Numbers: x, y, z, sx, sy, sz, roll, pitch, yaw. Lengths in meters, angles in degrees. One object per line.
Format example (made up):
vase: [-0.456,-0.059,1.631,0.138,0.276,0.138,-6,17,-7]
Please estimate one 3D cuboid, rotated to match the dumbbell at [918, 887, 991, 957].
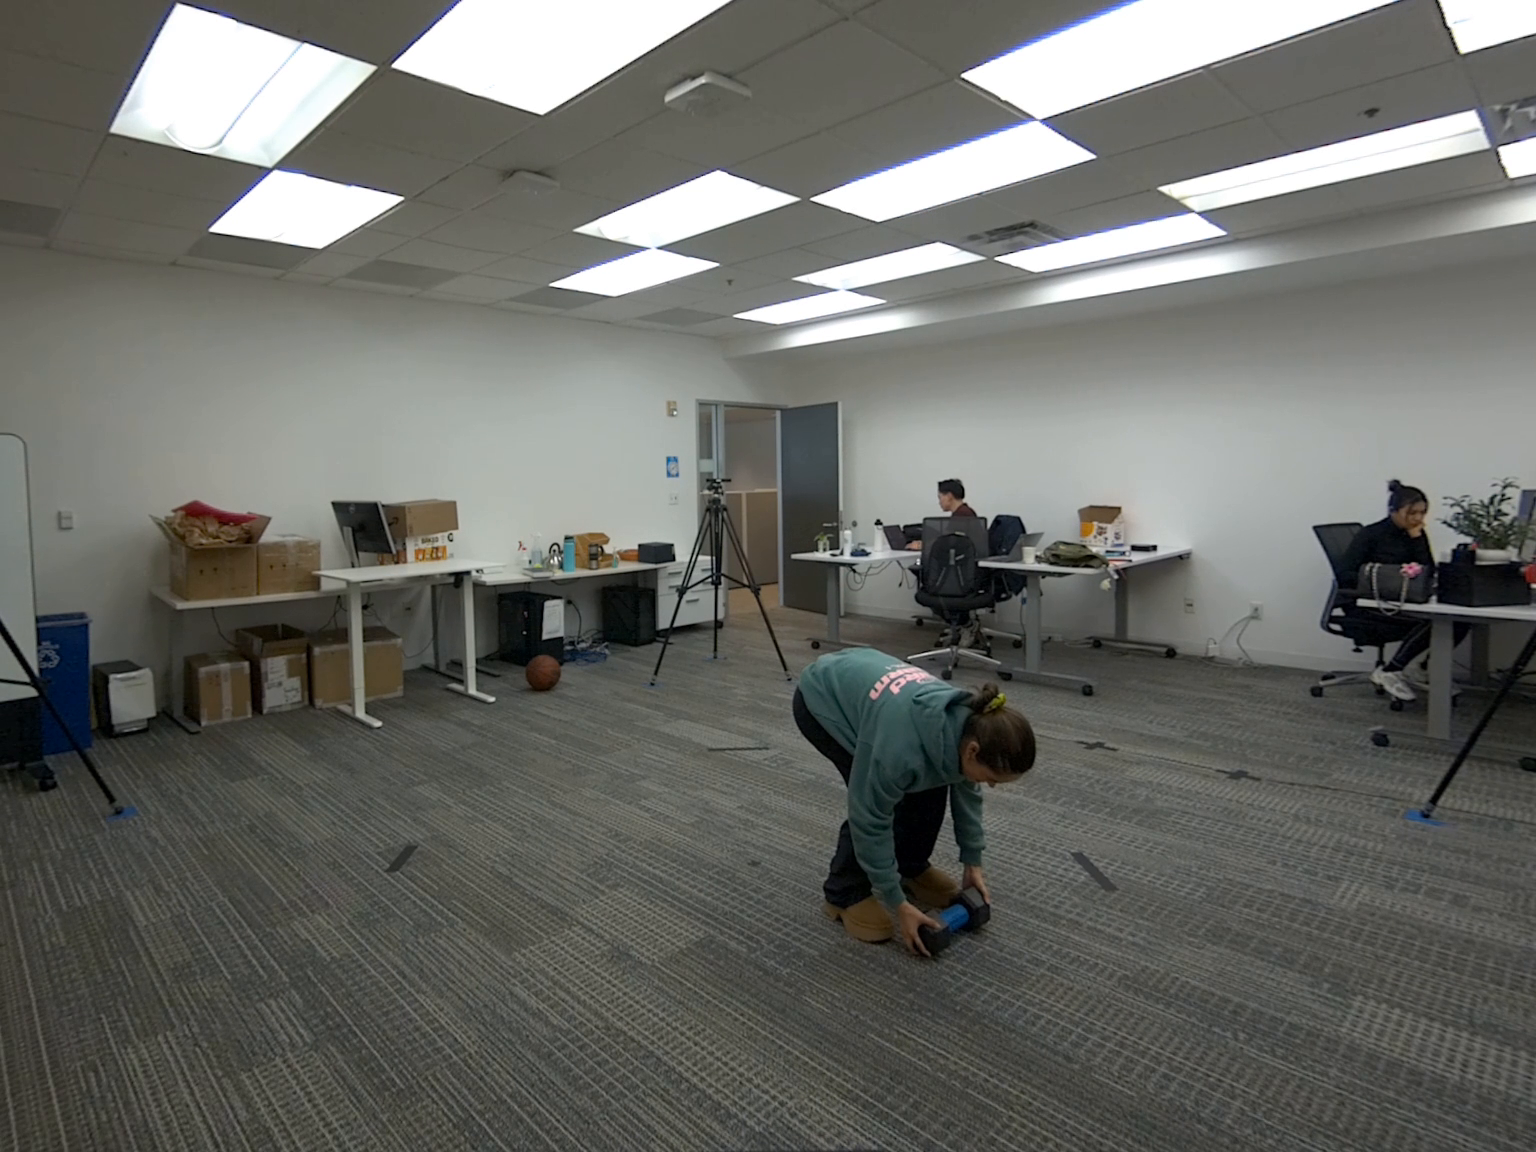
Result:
dumbbell: [0.542,1.036,2.568,0.286,0.122,0.112,-7,5,-42]
